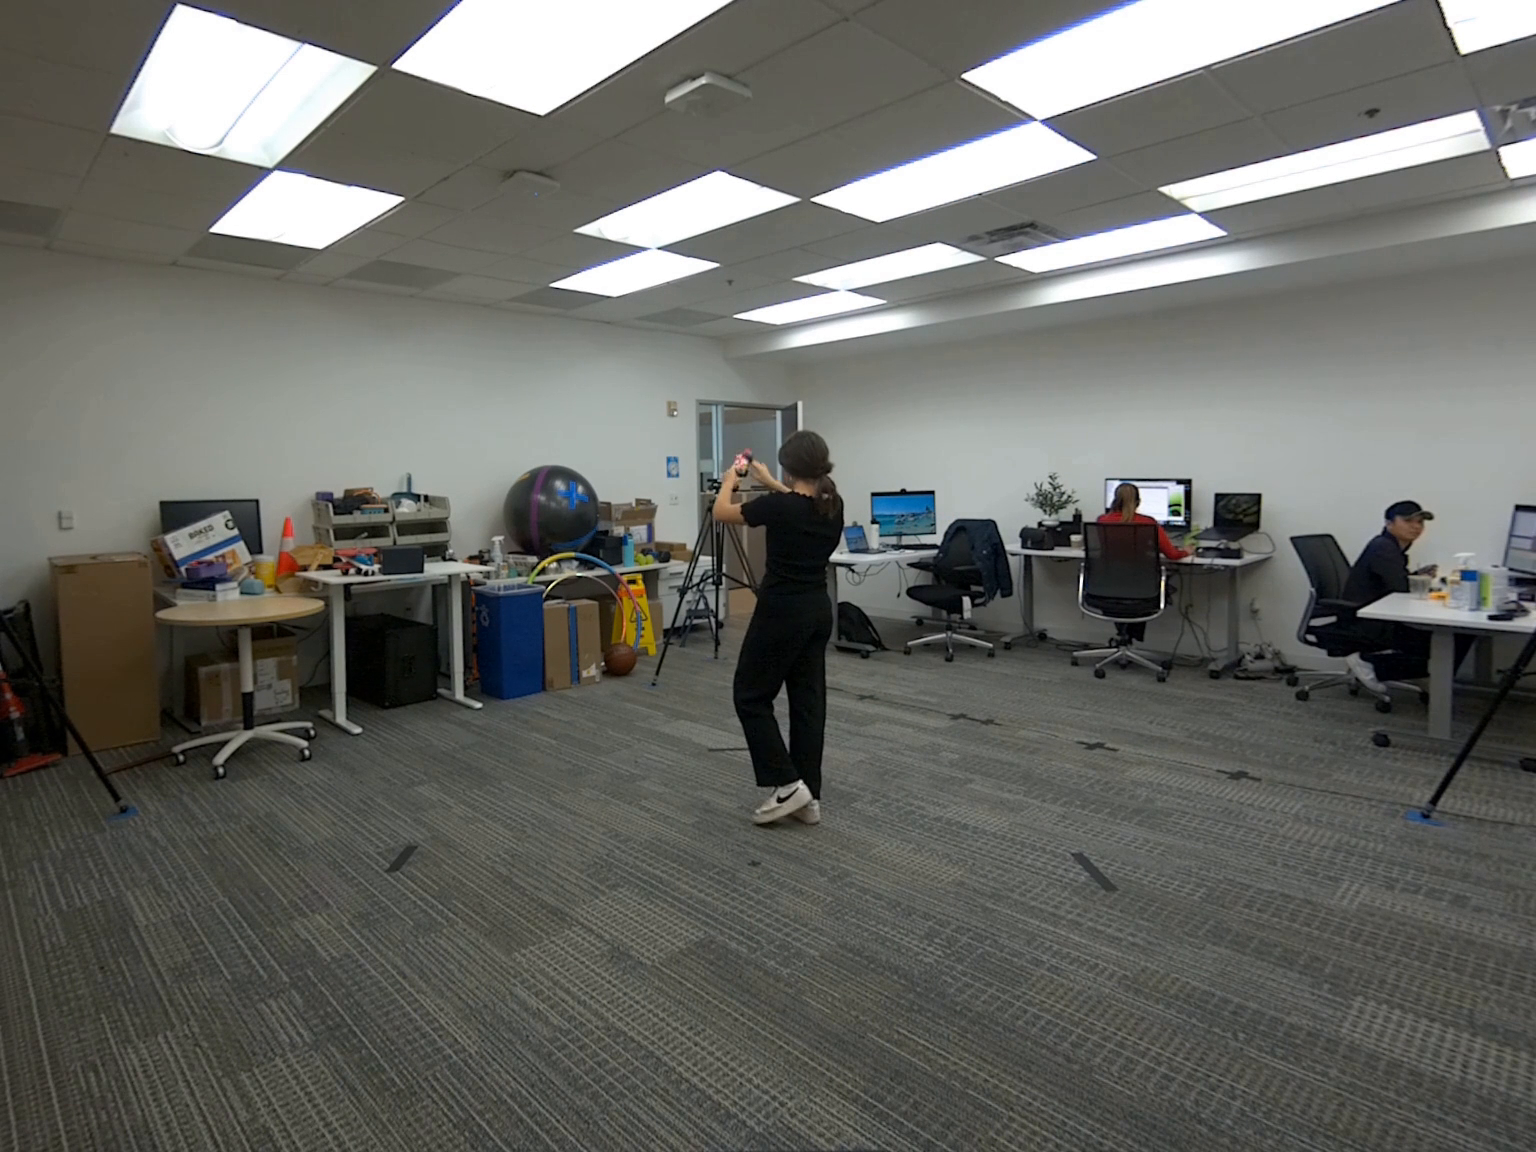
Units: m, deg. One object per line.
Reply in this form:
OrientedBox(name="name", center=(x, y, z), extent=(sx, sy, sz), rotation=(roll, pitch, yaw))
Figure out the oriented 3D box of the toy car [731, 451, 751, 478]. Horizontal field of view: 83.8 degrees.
OrientedBox(name="toy car", center=(-0.121, -0.489, 3.899), extent=(0.083, 0.128, 0.260), rotation=(13, 40, -6))
